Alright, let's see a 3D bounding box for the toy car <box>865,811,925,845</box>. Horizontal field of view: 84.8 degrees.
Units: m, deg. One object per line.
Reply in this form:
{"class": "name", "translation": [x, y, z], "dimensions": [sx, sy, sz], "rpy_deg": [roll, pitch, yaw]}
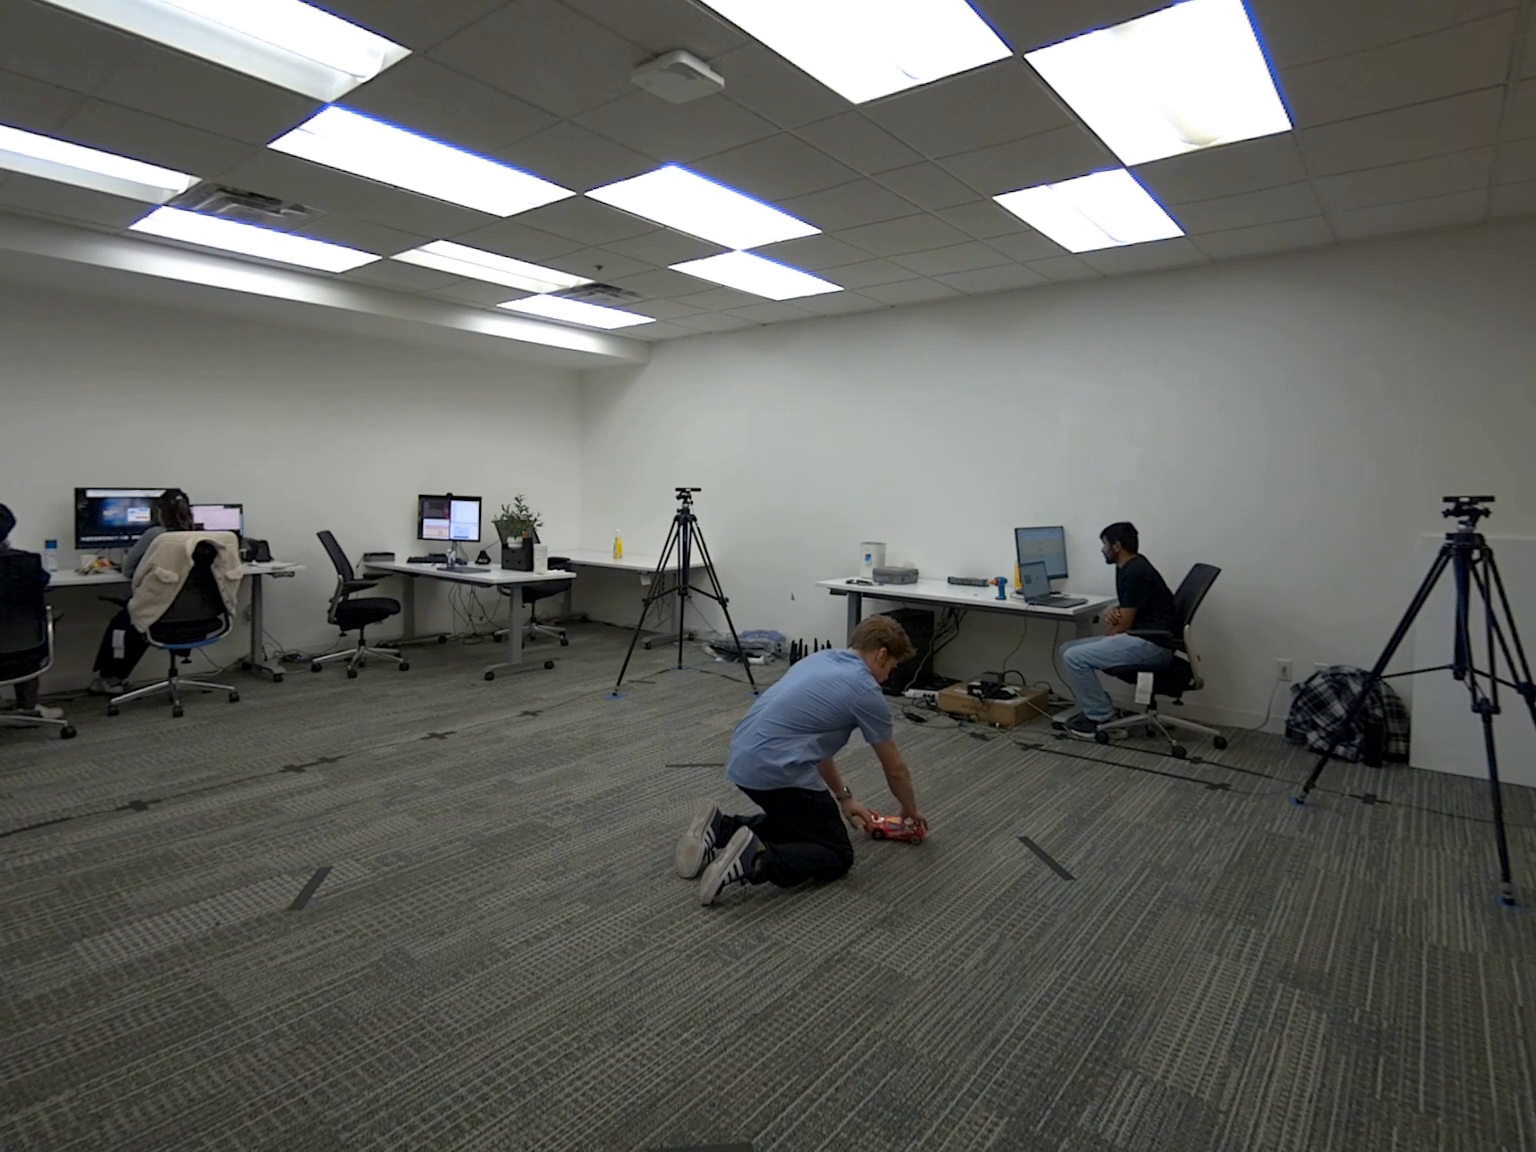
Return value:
{"class": "toy car", "translation": [0.496, 1.021, 3.435], "dimensions": [0.258, 0.083, 0.129], "rpy_deg": [16, 5, 11]}
